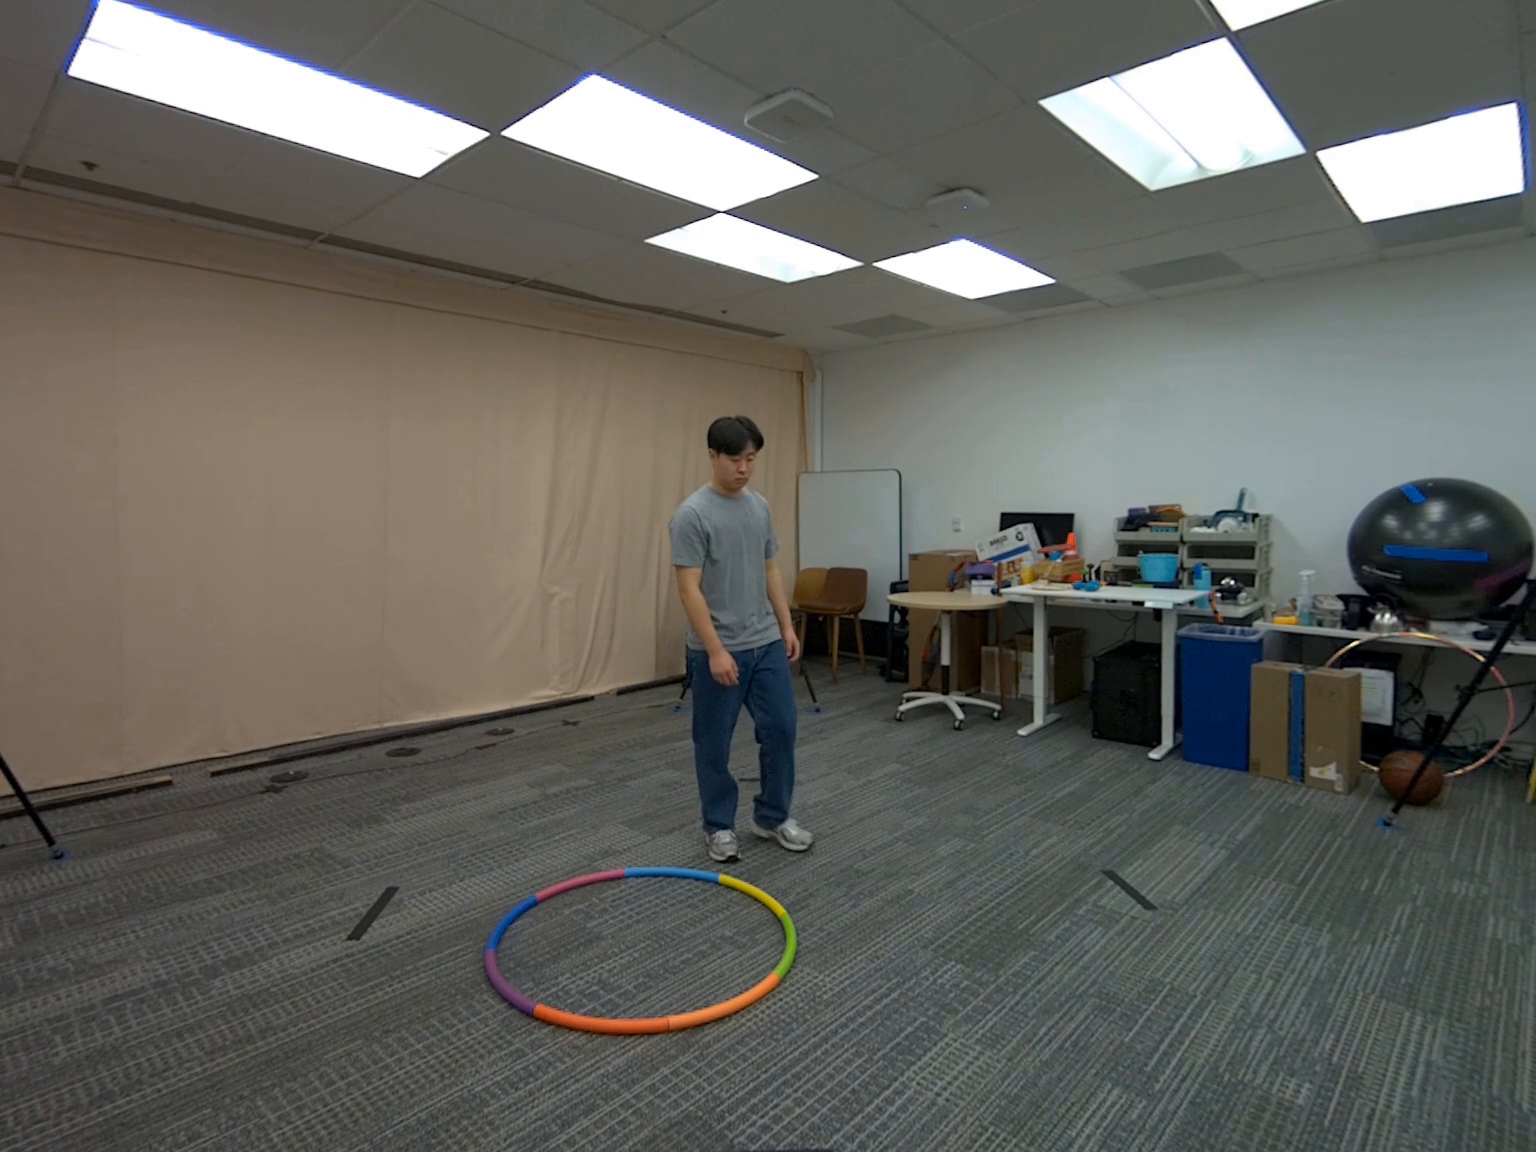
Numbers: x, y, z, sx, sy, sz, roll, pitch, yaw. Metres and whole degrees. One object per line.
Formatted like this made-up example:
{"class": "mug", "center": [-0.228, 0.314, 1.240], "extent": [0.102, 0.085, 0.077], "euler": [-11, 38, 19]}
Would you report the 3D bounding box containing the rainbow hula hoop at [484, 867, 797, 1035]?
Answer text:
{"class": "rainbow hula hoop", "center": [-0.396, 1.143, 2.705], "extent": [0.978, 0.035, 0.982], "euler": [-1, 4, -2]}
